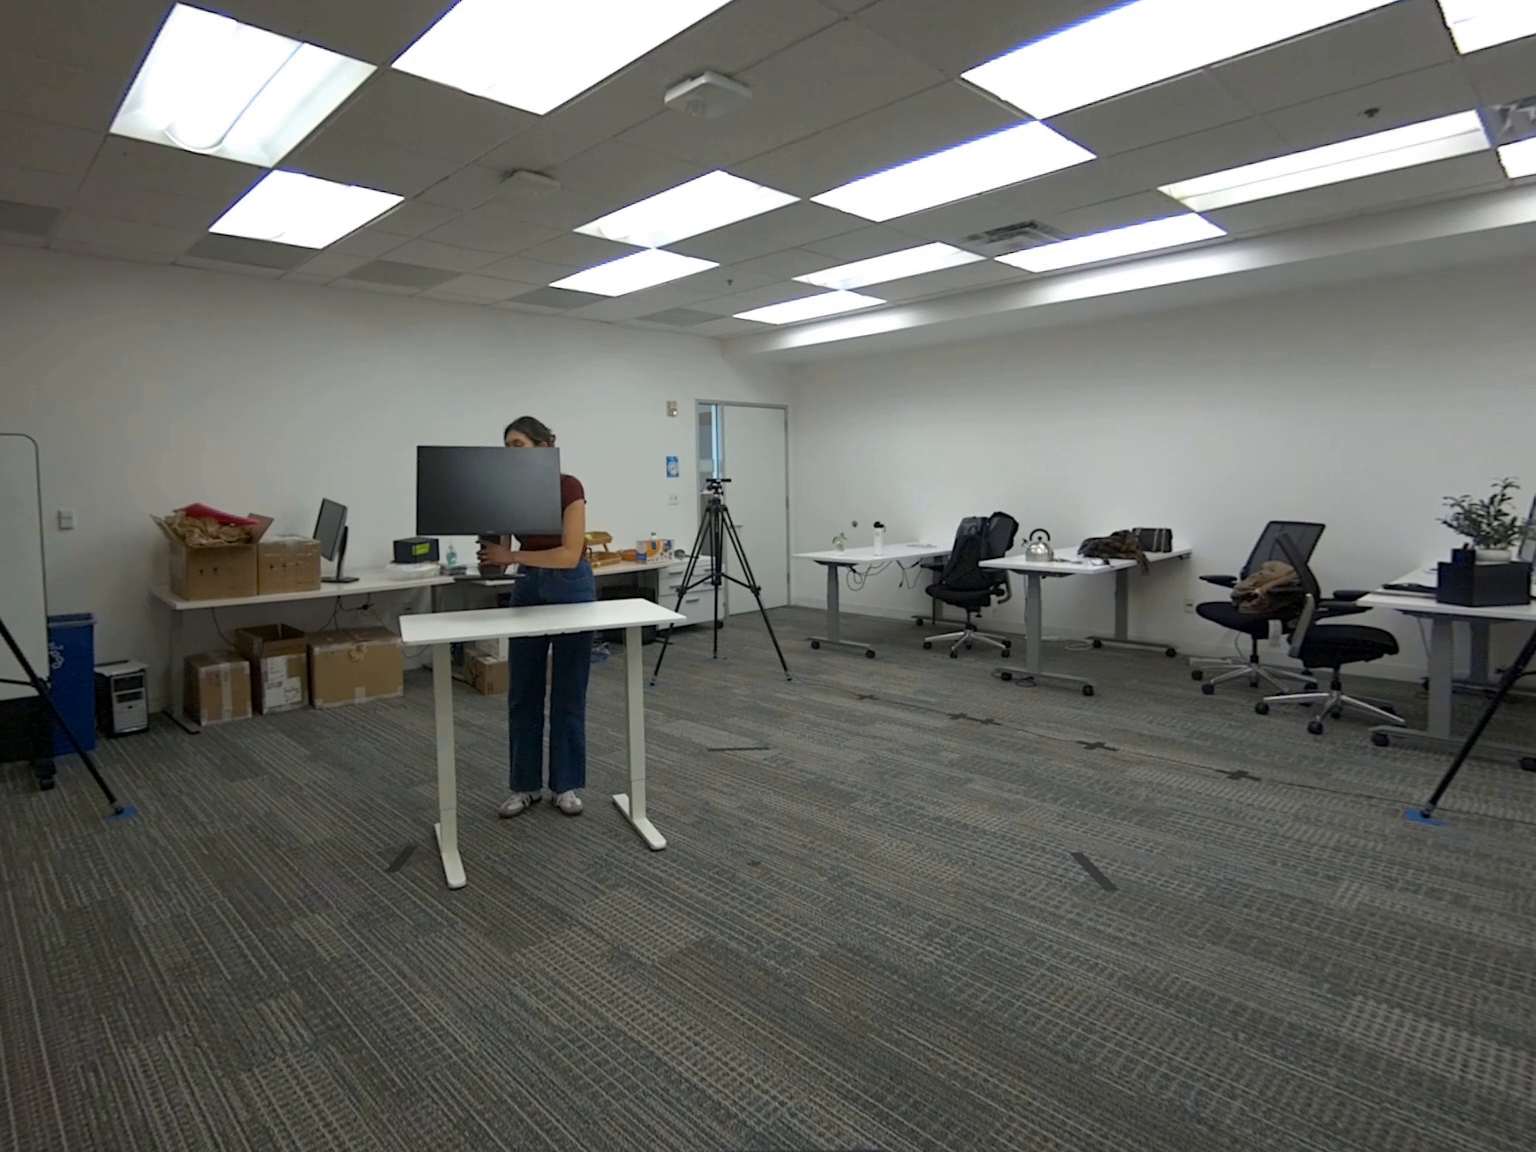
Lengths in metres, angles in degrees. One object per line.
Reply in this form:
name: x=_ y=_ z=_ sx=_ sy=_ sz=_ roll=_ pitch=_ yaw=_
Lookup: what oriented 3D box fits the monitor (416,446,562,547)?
monitor: x=-1.091 y=-0.234 z=3.307 sx=0.530 sy=0.522 sz=0.190 roll=-1 pitch=1 yaw=-17
